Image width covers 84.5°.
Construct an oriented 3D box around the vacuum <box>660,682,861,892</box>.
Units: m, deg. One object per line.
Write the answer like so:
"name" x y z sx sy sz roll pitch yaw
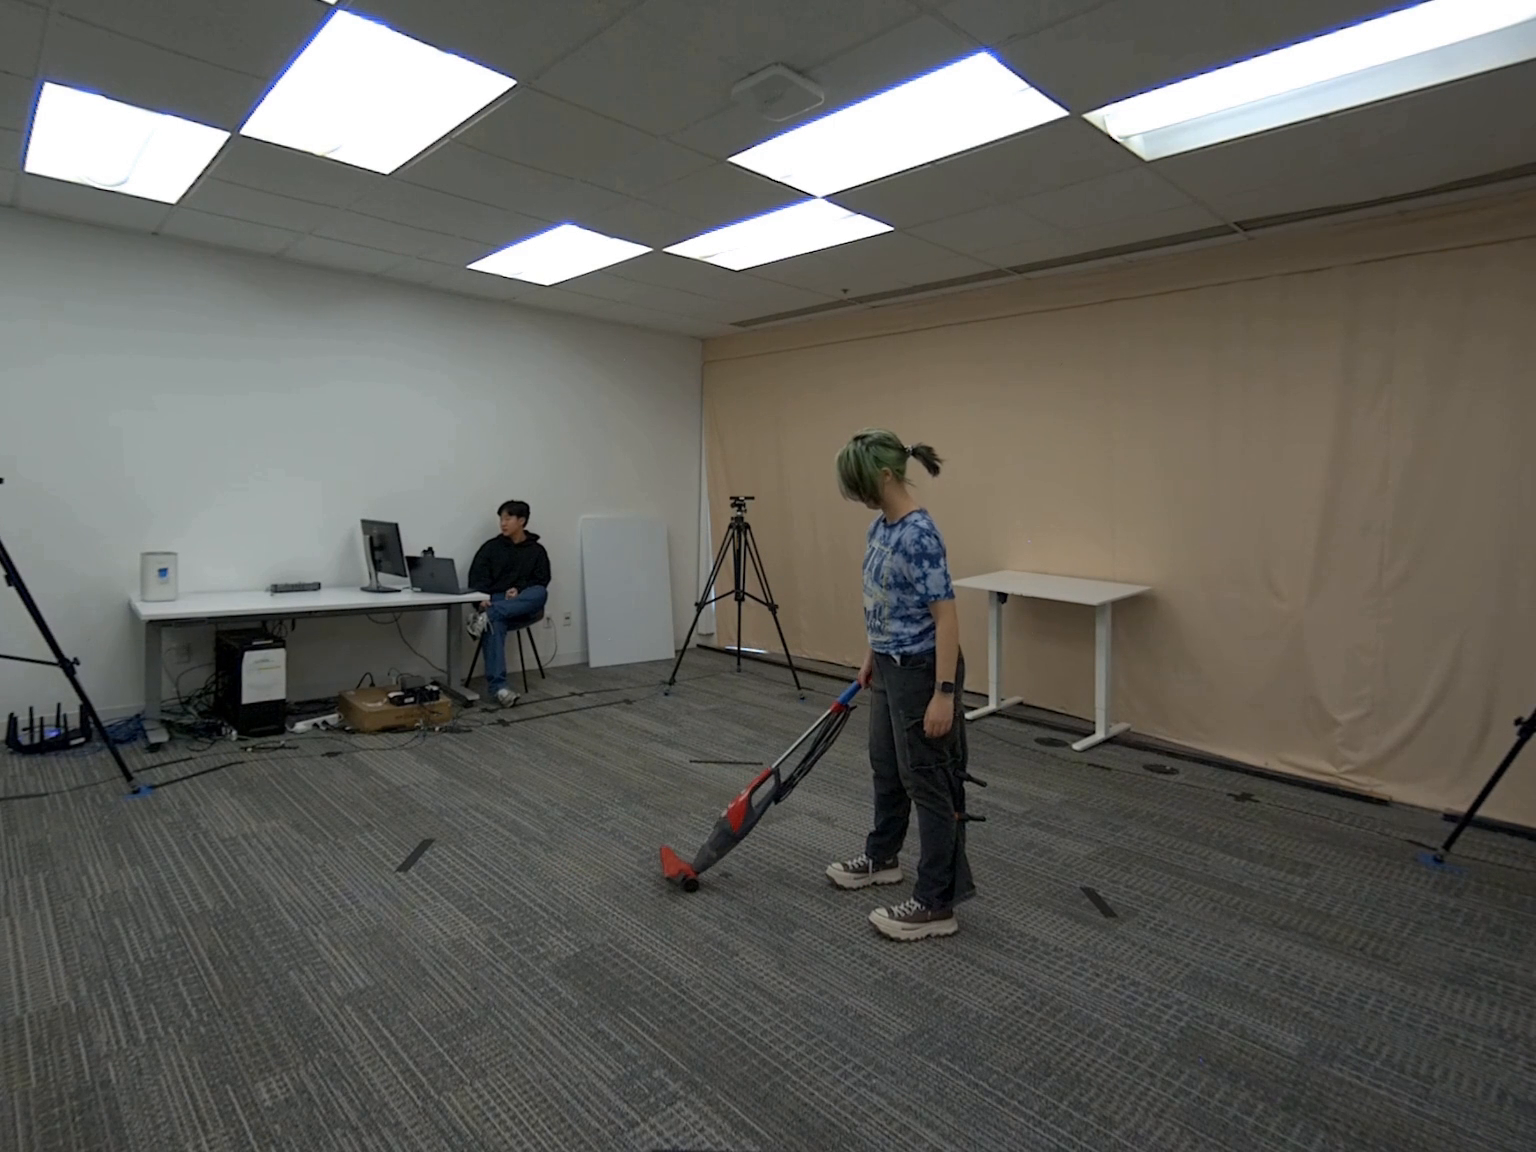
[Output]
"vacuum" 0.049 0.720 3.042 1.049 0.142 0.256 -42 12 -3
